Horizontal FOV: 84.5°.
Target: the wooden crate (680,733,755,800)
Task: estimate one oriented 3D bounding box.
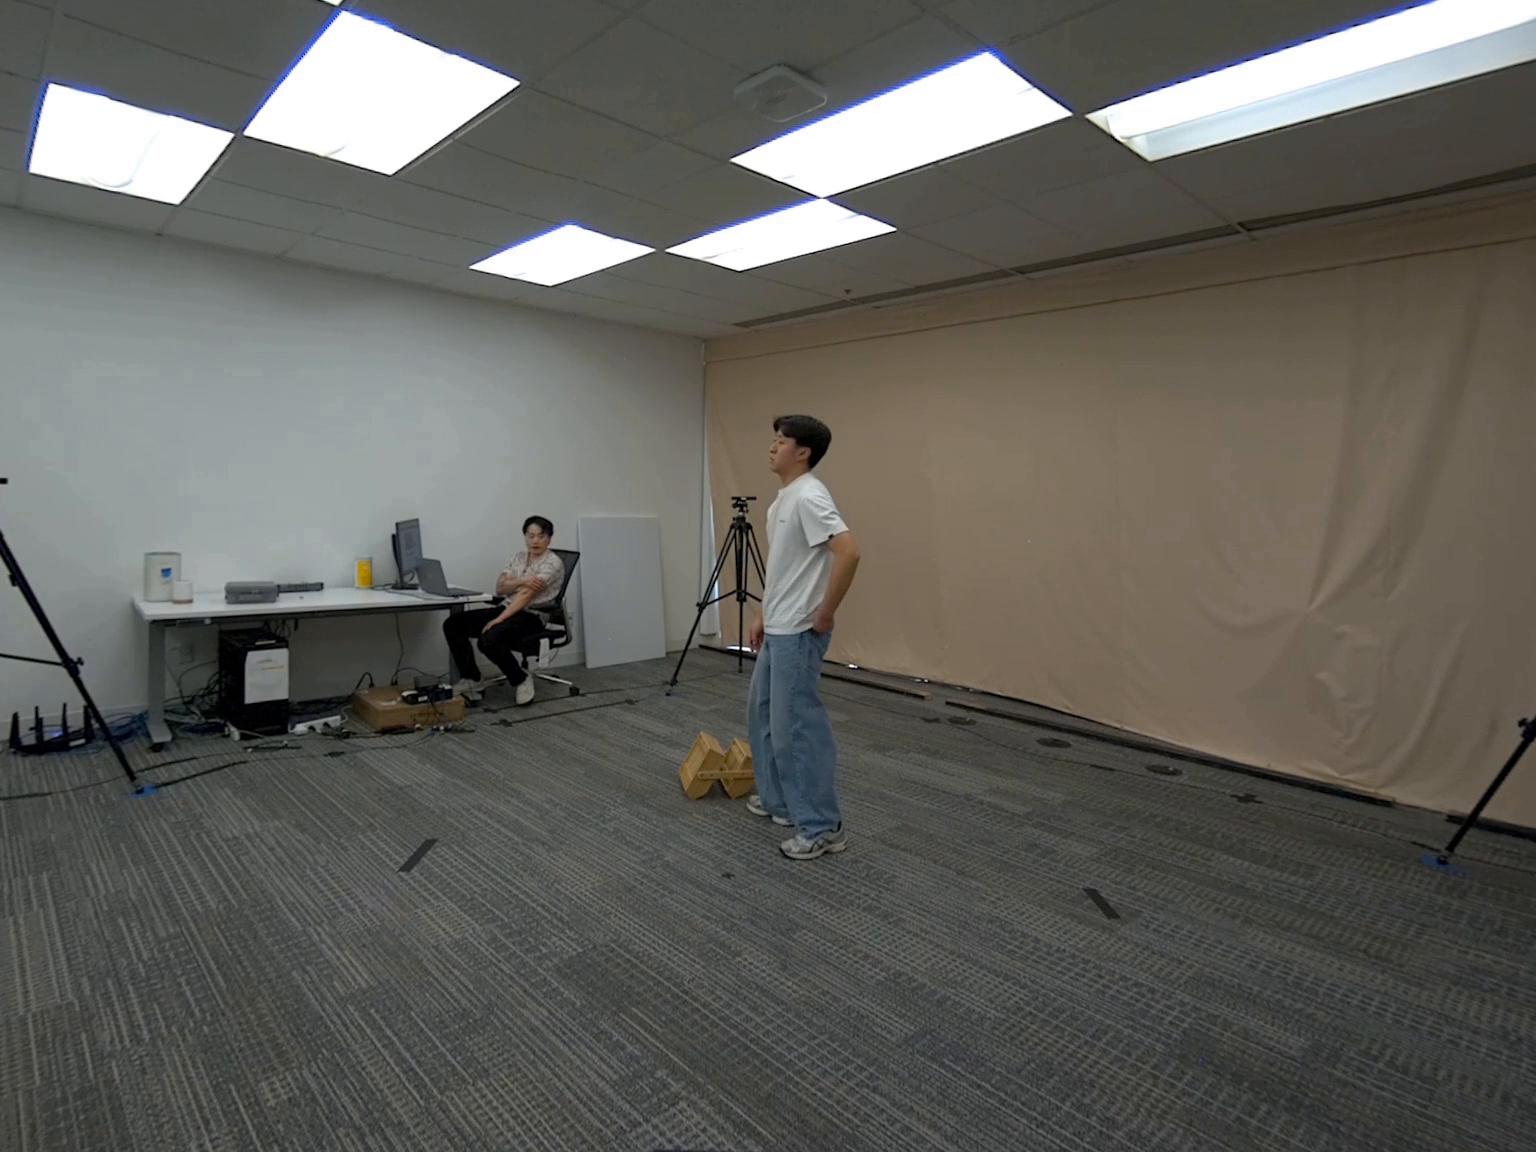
[{"bbox_3d":[-0.248,0.933,4.048,0.270,0.302,0.328,29,-2,-12],"label":"wooden crate"}]
